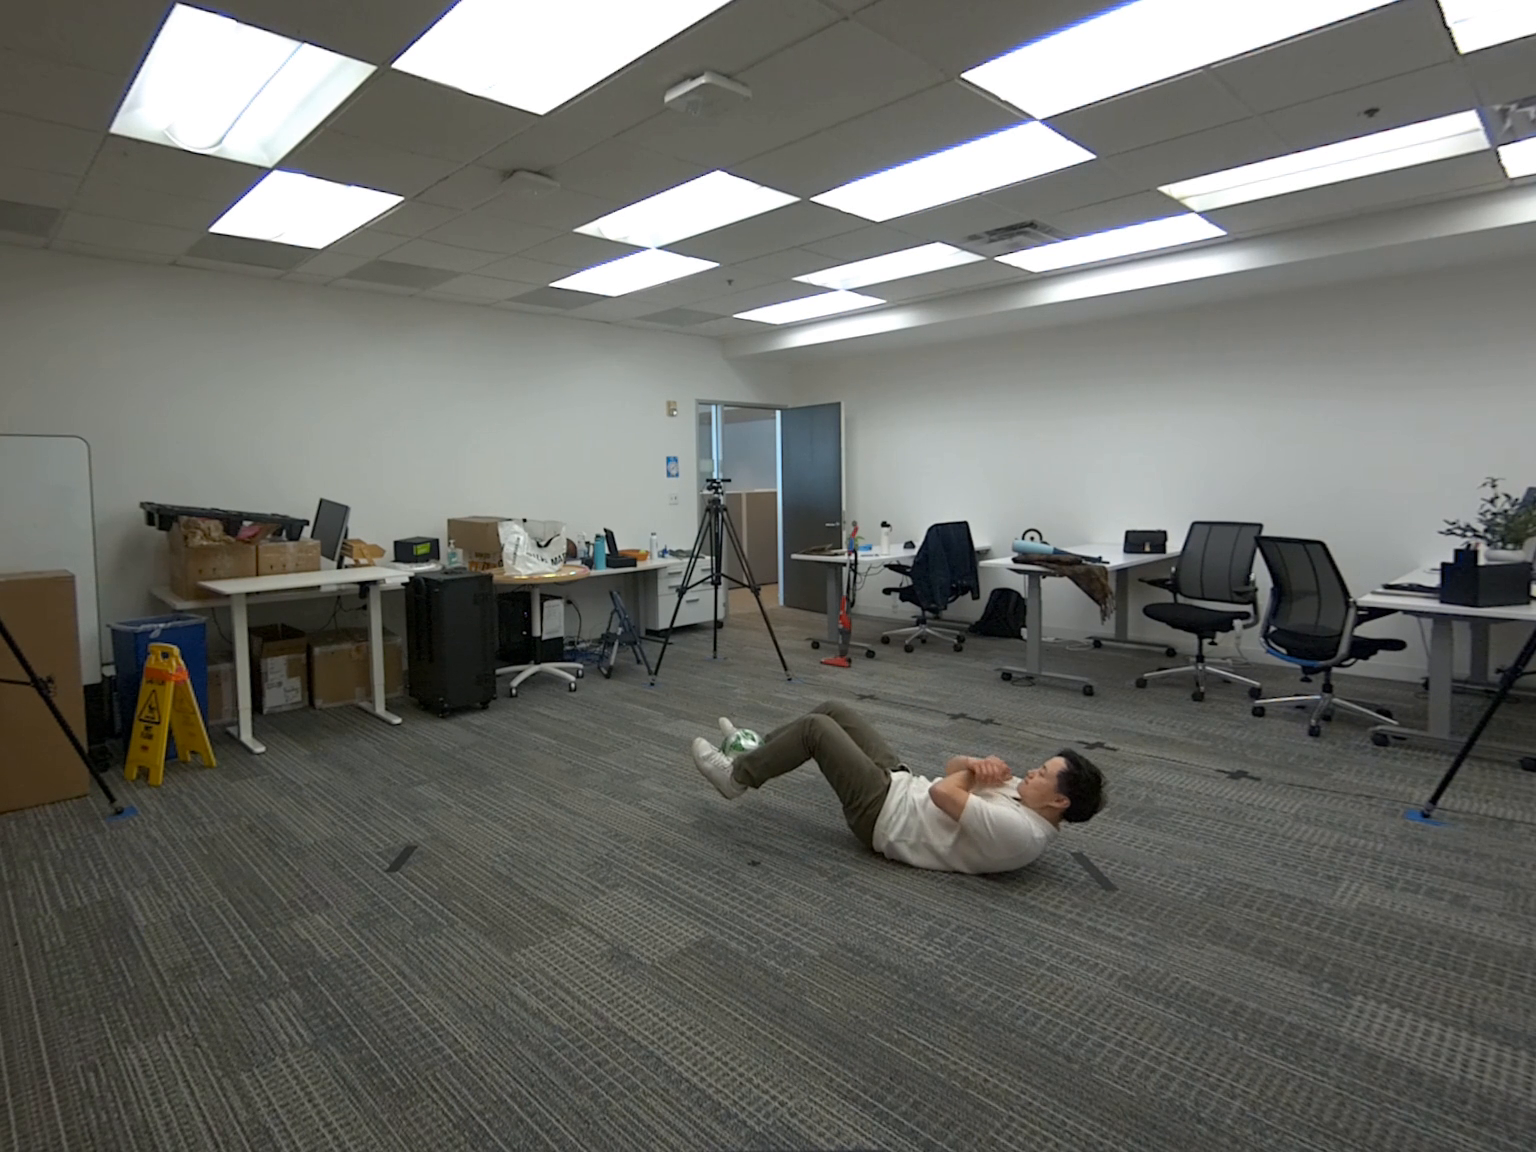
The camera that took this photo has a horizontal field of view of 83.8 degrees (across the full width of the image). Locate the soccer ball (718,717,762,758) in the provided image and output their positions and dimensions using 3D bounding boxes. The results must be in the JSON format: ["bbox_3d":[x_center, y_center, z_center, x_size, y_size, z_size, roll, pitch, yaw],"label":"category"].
[{"bbox_3d":[-0.098,0.721,3.488,0.187,0.187,0.188,-1,5,-2],"label":"soccer ball"}]
